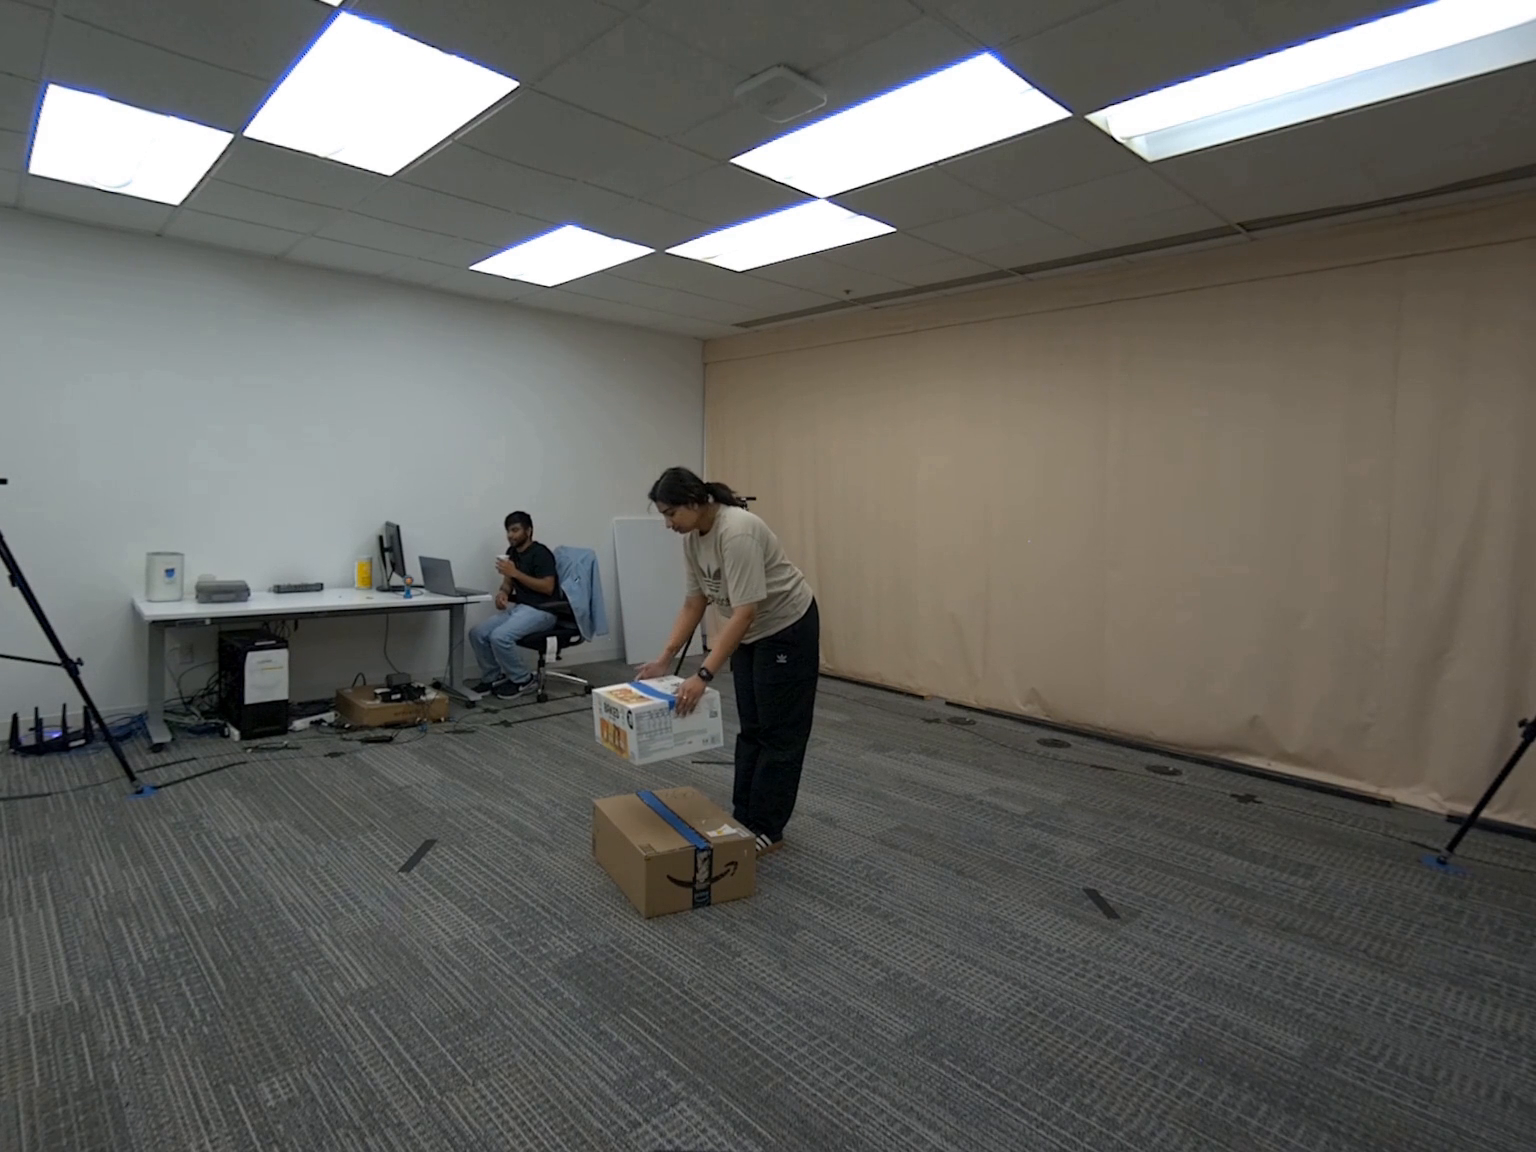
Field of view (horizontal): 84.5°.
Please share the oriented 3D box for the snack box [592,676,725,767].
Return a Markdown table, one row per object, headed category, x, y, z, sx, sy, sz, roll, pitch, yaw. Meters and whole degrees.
| category | x | y | z | sx | sy | sz | roll | pitch | yaw |
| --- | --- | --- | --- | --- | --- | --- | --- | --- | --- |
| snack box | -0.421 | 0.522 | 3.104 | 0.334 | 0.205 | 0.414 | -6 | 5 | -29 |
